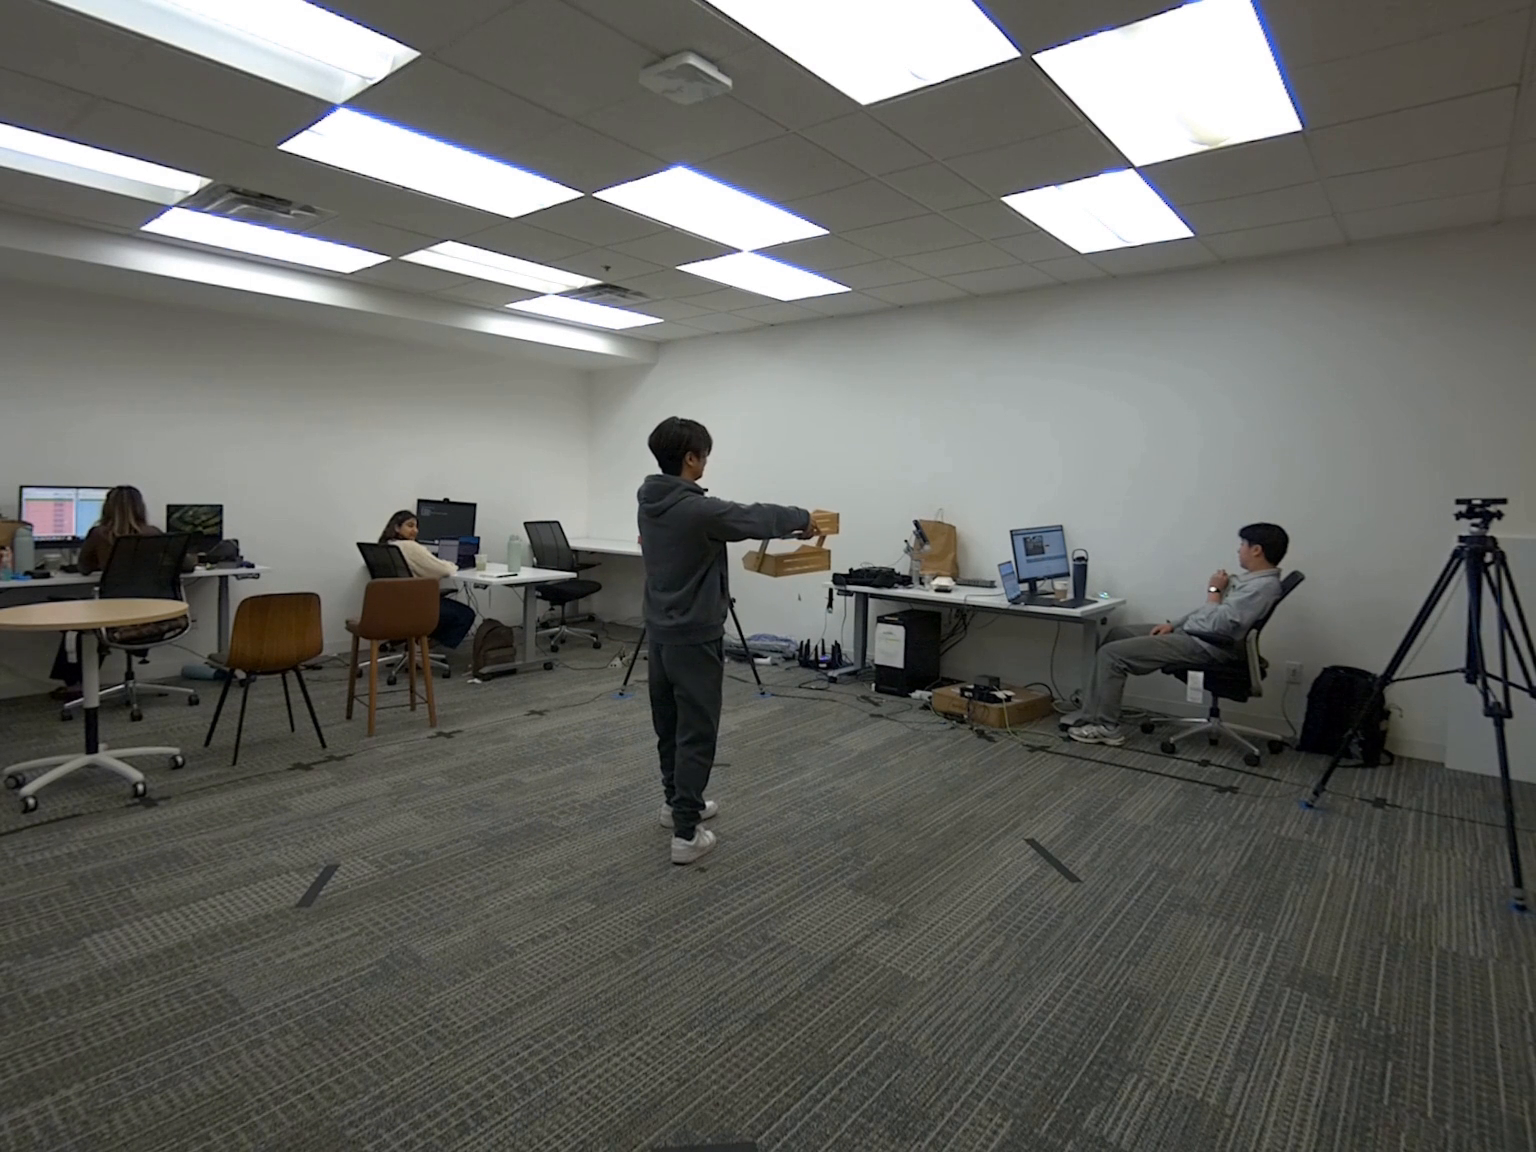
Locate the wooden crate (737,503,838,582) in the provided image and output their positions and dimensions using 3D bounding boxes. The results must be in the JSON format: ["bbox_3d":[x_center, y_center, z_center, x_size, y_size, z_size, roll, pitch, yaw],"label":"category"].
[{"bbox_3d":[0.080,-0.160,3.709,0.316,0.270,0.313,-8,13,-33],"label":"wooden crate"}]
